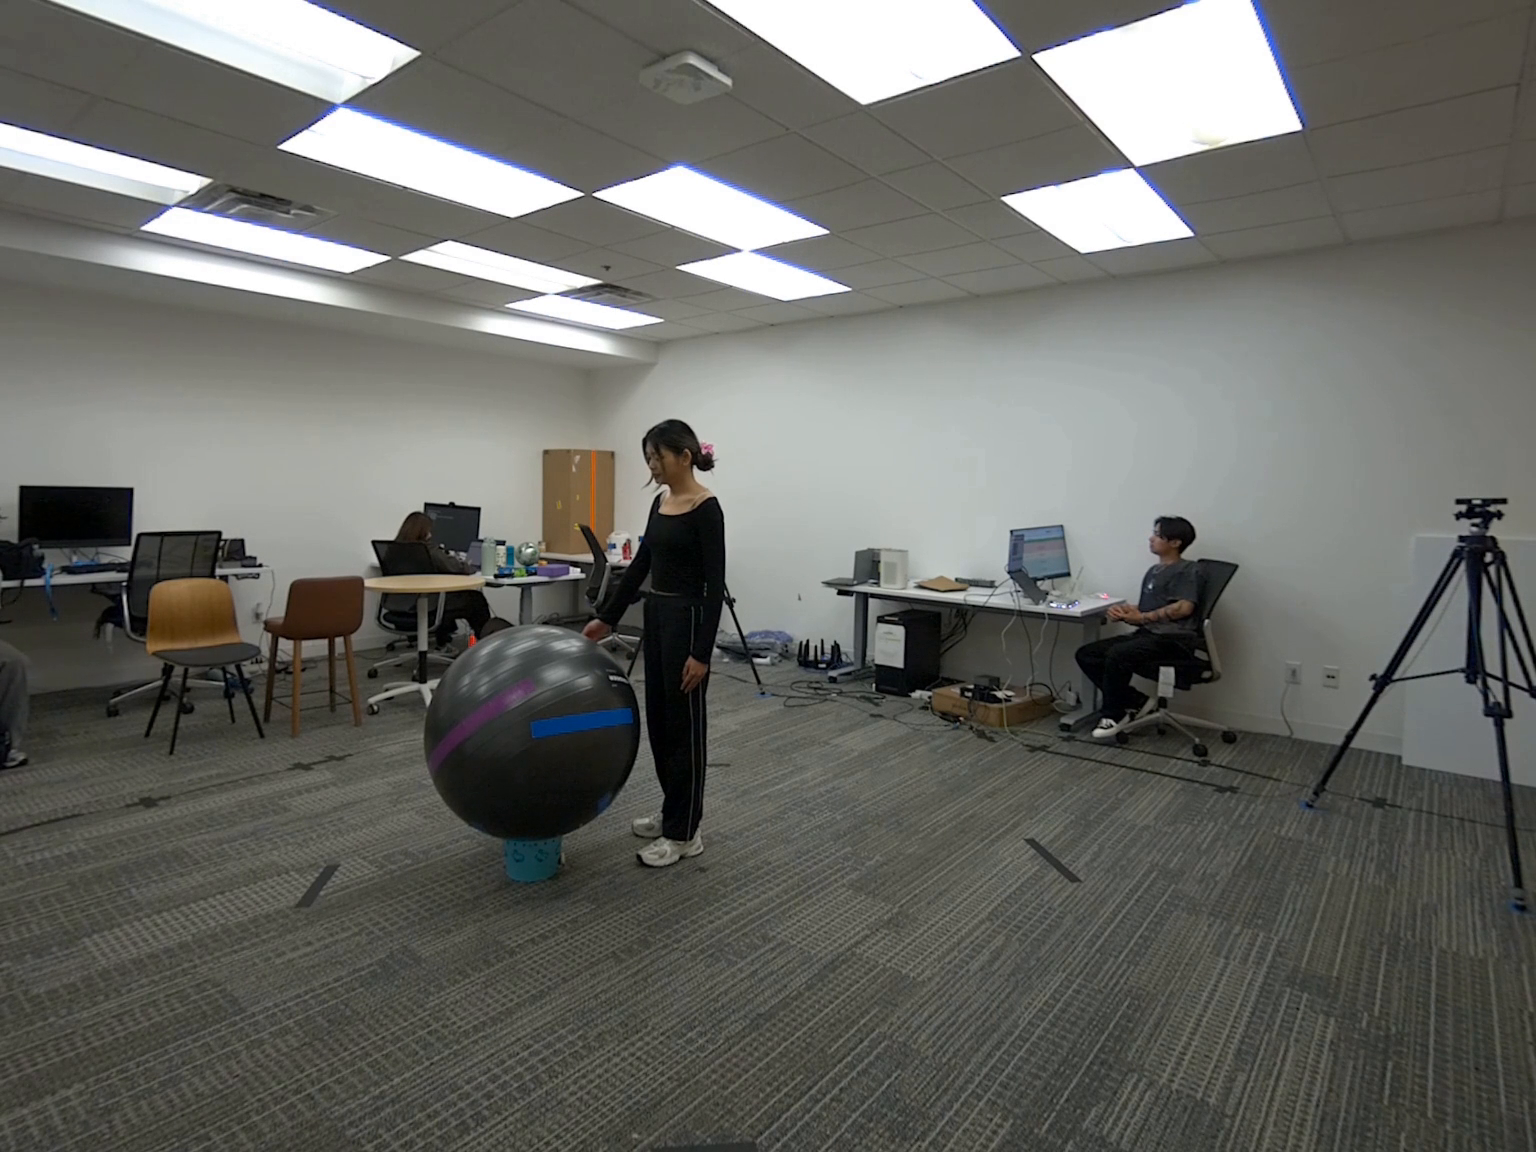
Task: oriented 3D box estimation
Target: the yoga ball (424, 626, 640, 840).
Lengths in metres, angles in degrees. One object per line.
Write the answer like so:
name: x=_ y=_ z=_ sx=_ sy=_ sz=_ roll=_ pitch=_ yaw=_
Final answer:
yoga ball: x=-0.860 y=0.556 z=3.056 sx=0.757 sy=0.756 sz=0.762 roll=1 pitch=4 yaw=-2
